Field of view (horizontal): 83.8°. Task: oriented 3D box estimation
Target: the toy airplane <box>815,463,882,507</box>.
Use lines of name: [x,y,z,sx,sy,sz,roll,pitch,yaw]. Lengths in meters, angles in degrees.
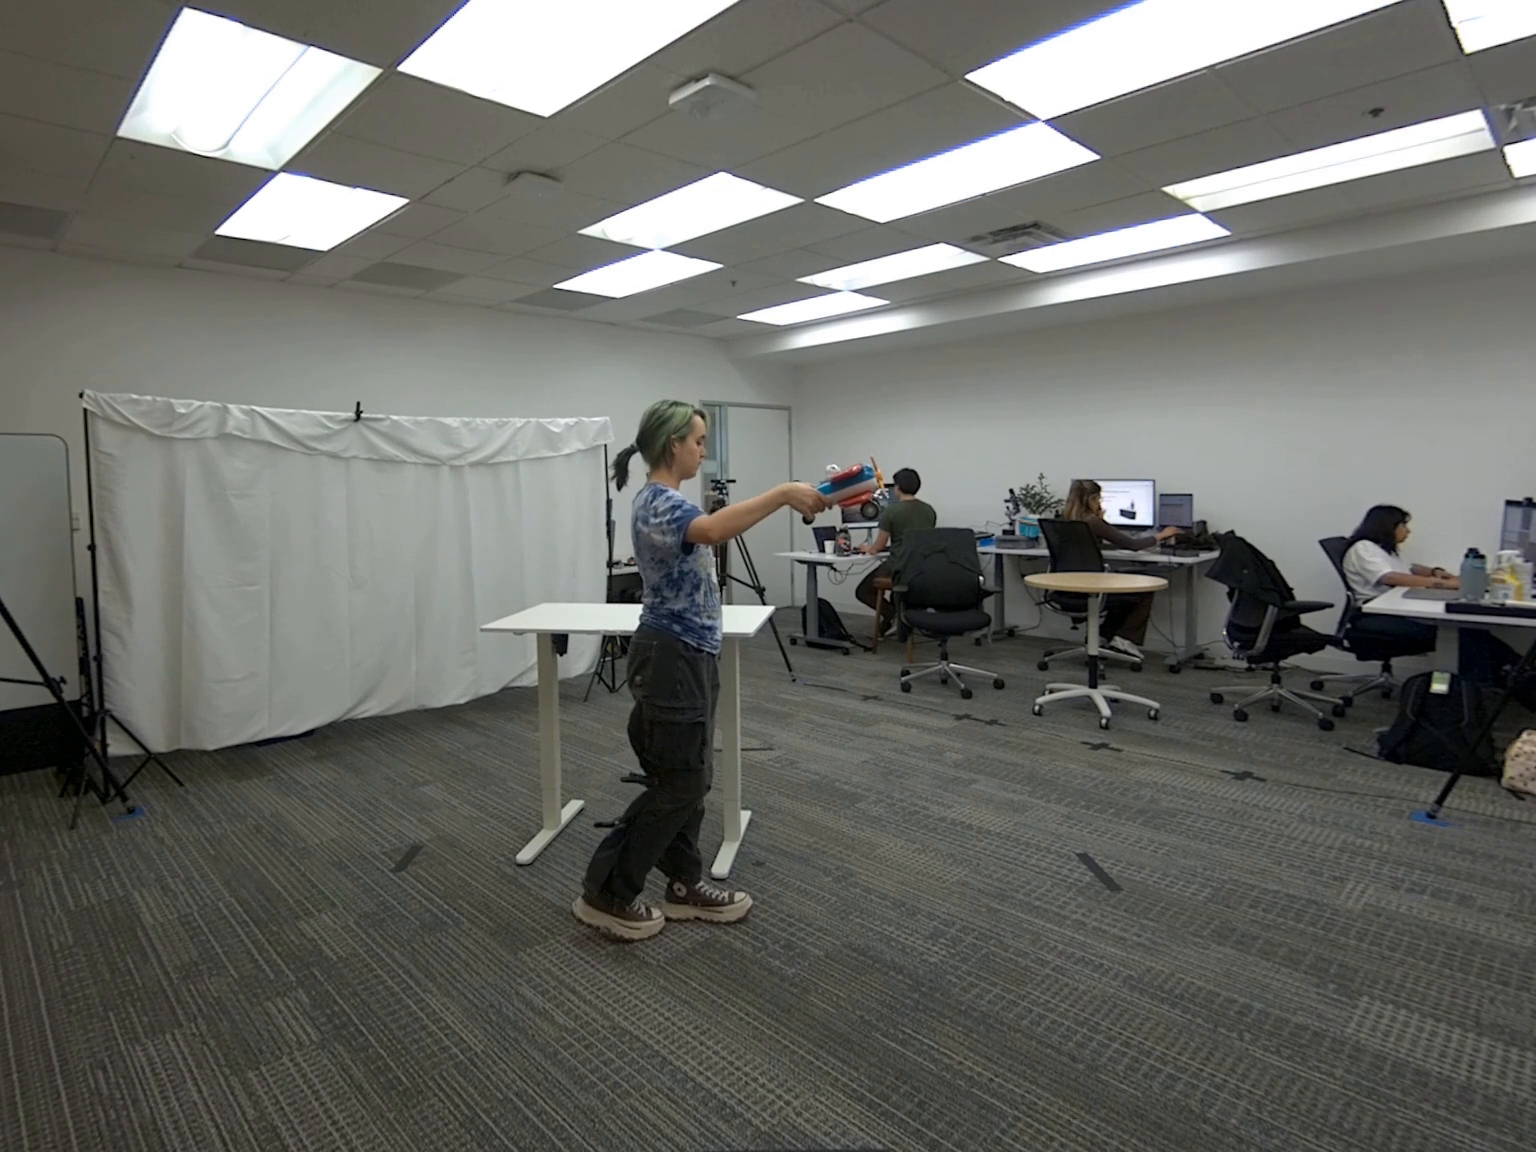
toy airplane: [0.198,-0.224,2.375,0.256,0.155,0.257,-10,10,-17]
